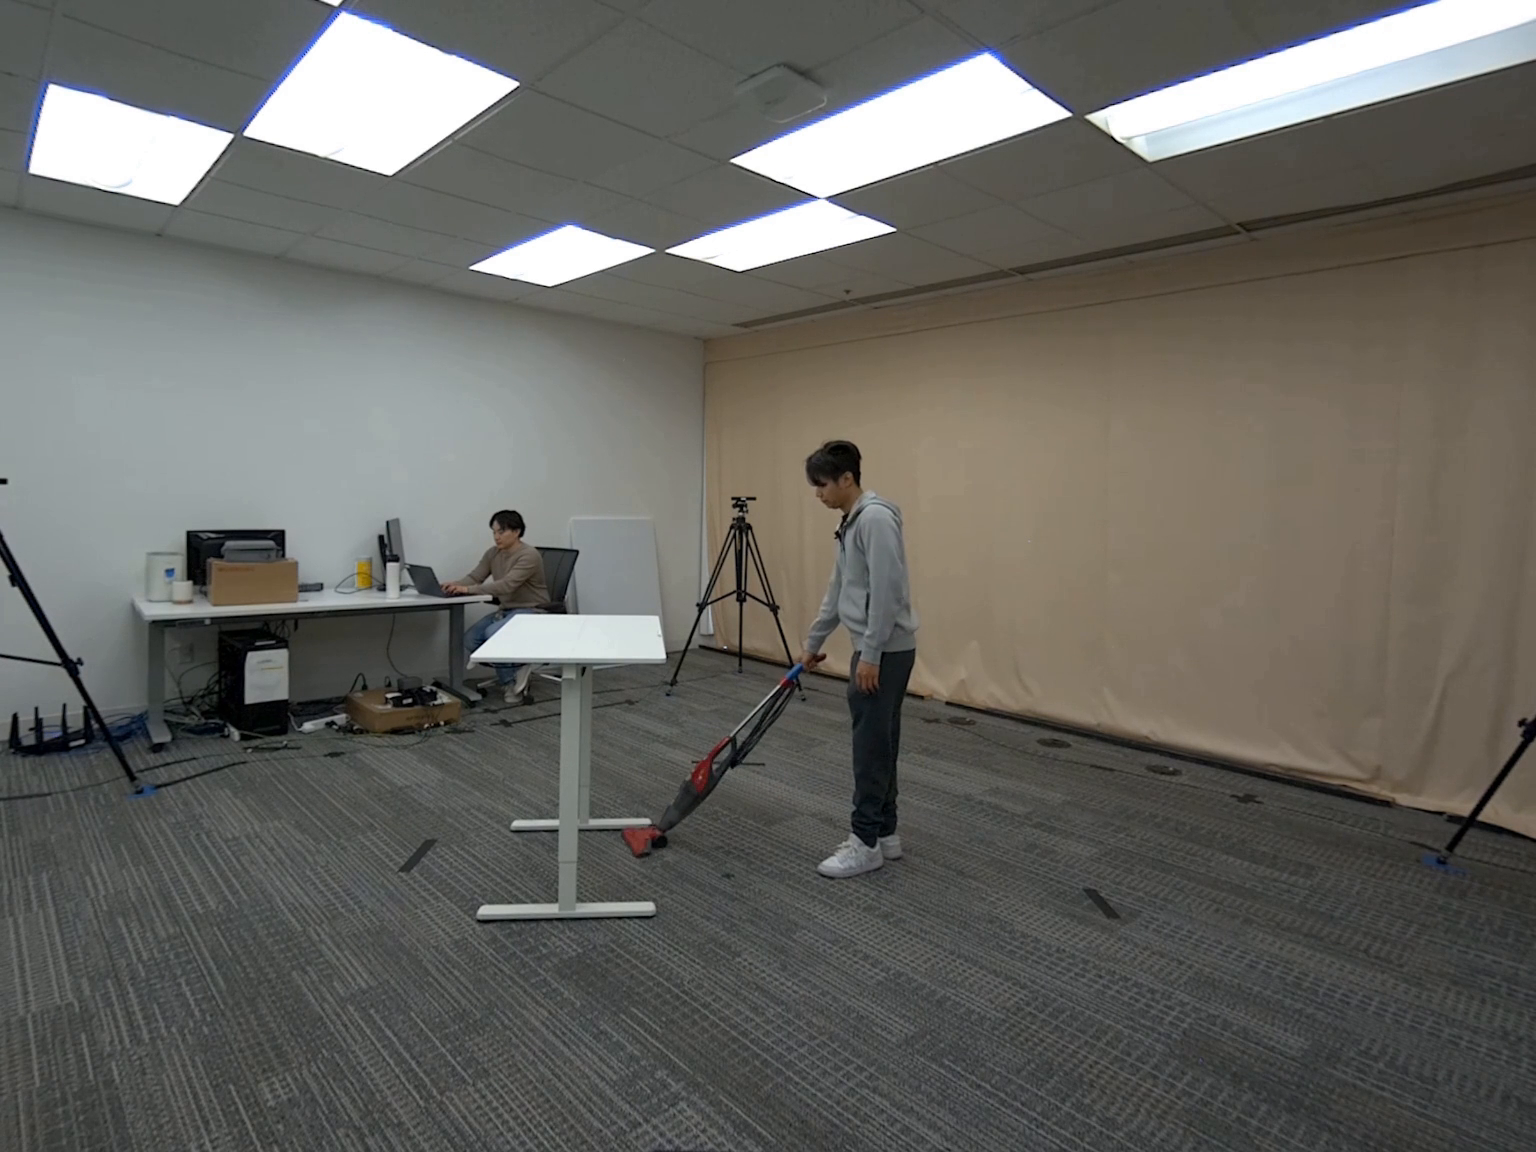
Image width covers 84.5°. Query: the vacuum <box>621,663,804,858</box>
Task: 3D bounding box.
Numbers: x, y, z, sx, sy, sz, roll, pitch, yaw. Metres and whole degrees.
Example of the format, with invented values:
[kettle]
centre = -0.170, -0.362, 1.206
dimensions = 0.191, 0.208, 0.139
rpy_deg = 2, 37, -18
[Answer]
[vacuum]
centre = -0.111, 0.703, 3.488
dimensions = 1.048, 0.141, 0.258
rpy_deg = -42, 22, -12
